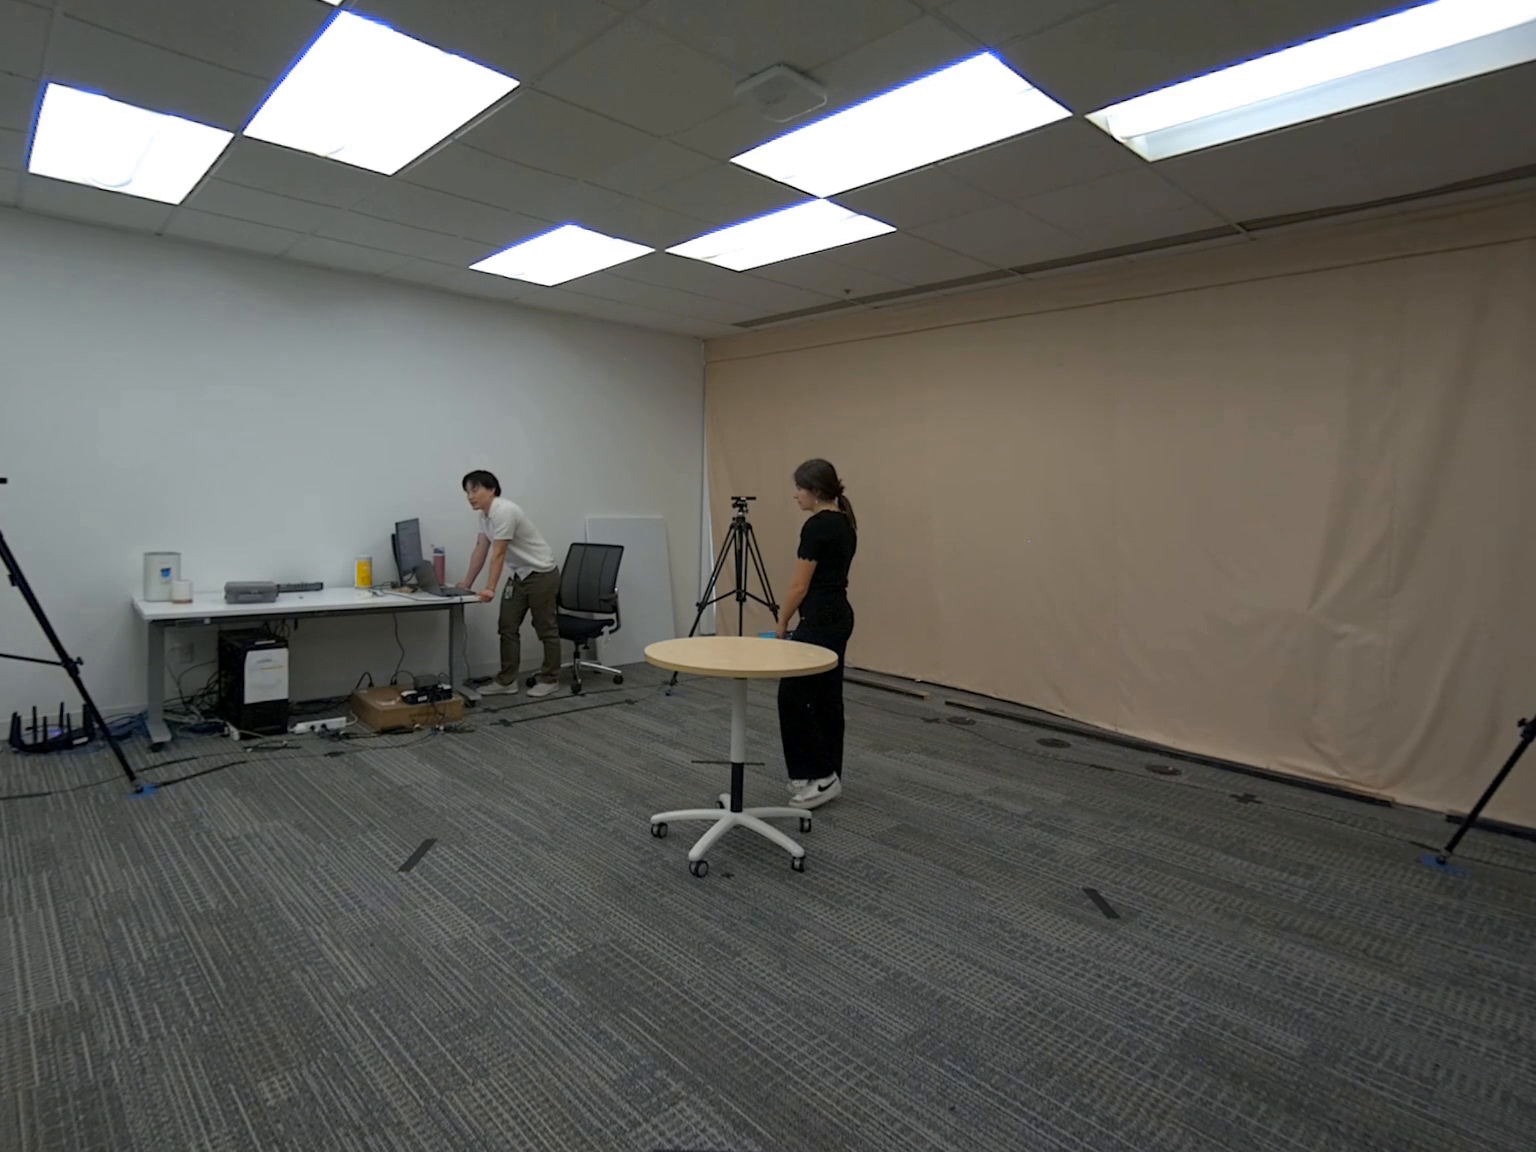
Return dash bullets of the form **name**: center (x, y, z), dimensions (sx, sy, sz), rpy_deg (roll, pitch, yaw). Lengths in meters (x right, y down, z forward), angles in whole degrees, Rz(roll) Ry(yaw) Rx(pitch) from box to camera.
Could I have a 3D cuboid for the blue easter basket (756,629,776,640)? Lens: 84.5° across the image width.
- **blue easter basket**: center (0.079, 0.352, 4.110), dimensions (0.243, 0.157, 0.242), rpy_deg (-3, -5, -2)
